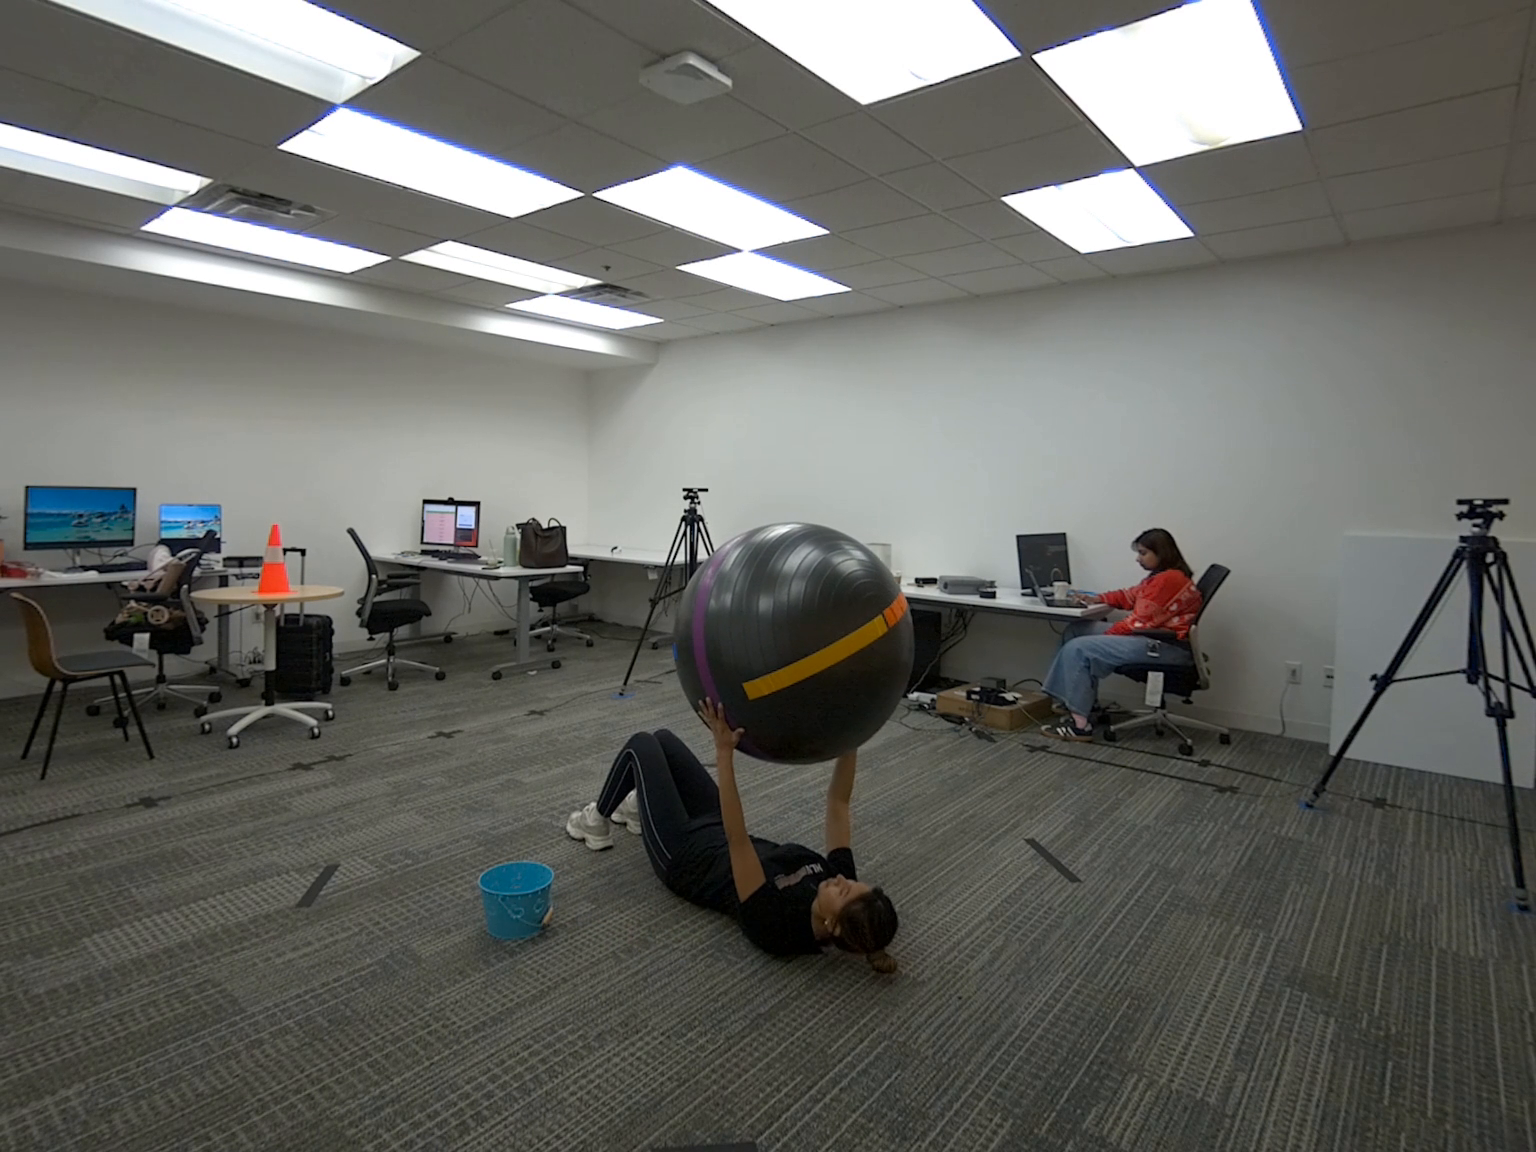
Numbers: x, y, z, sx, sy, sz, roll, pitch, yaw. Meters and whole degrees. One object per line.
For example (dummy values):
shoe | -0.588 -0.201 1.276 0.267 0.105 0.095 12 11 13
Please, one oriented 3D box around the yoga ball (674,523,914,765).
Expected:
yoga ball | 0.065 0.206 2.692 0.757 0.756 0.761 -3 3 -2
